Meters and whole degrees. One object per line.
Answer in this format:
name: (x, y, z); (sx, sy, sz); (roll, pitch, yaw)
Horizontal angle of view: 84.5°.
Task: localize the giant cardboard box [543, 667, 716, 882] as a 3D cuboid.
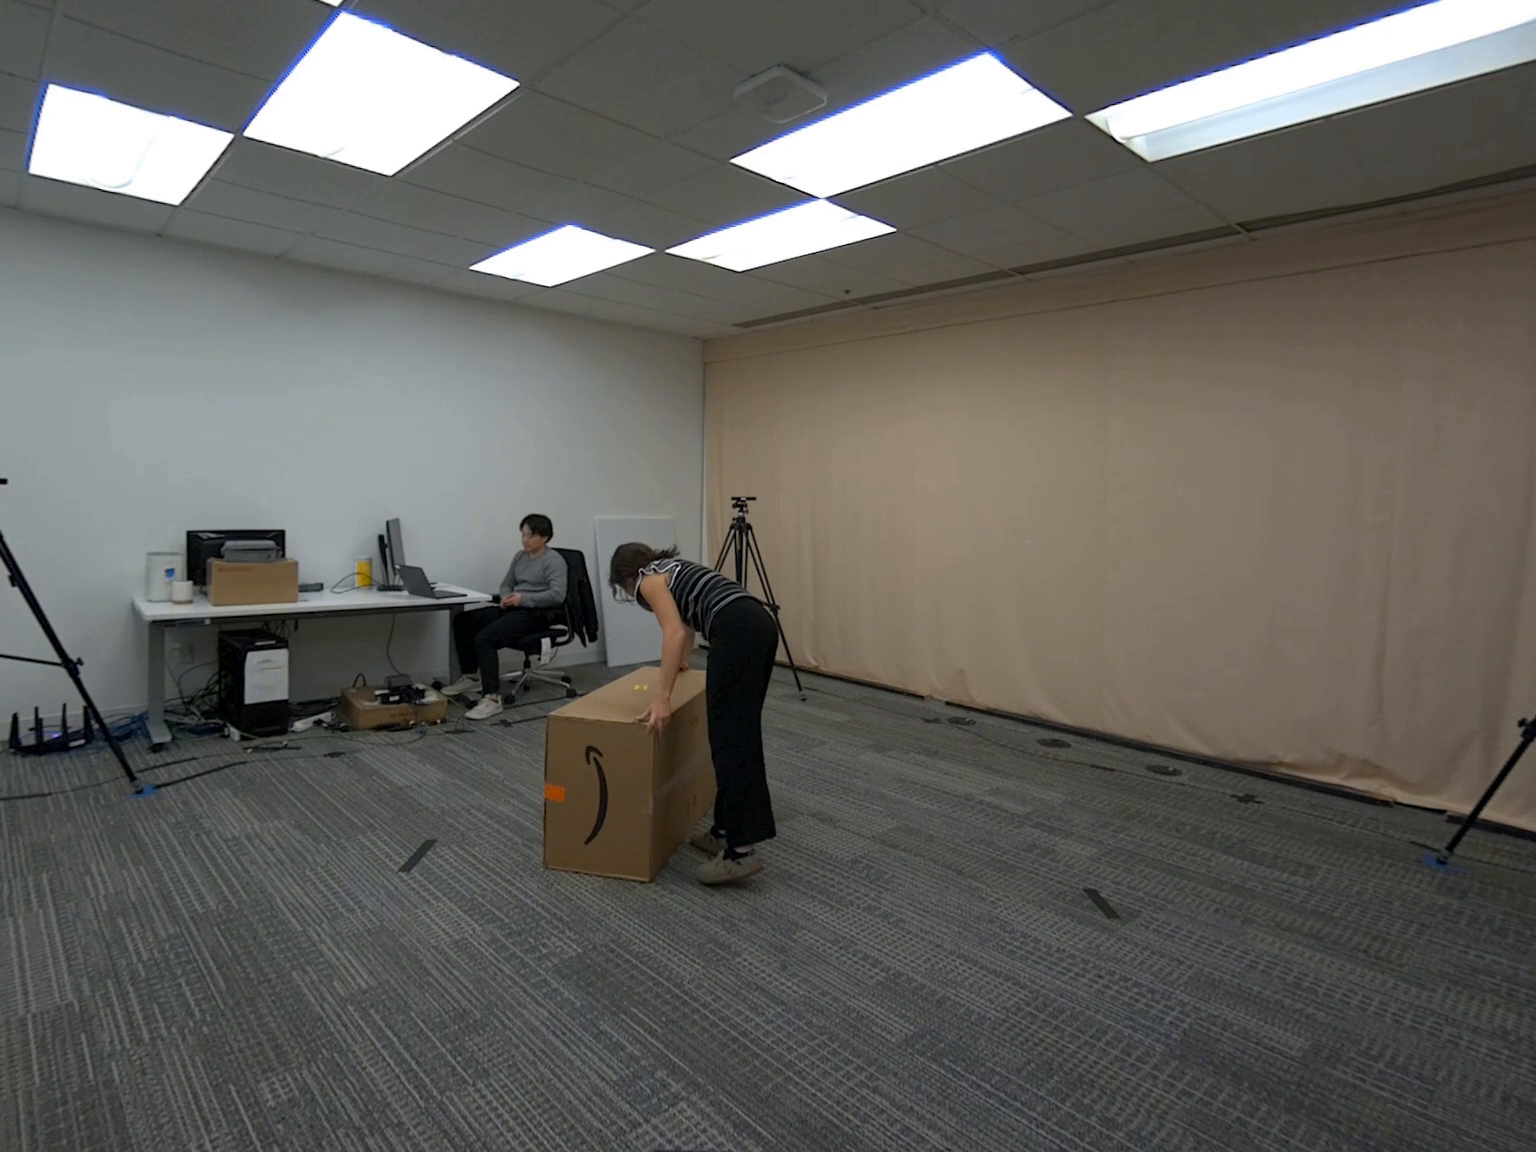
giant cardboard box: (-0.524, 0.763, 3.563); (0.431, 0.576, 1.017); (2, 4, 13)
